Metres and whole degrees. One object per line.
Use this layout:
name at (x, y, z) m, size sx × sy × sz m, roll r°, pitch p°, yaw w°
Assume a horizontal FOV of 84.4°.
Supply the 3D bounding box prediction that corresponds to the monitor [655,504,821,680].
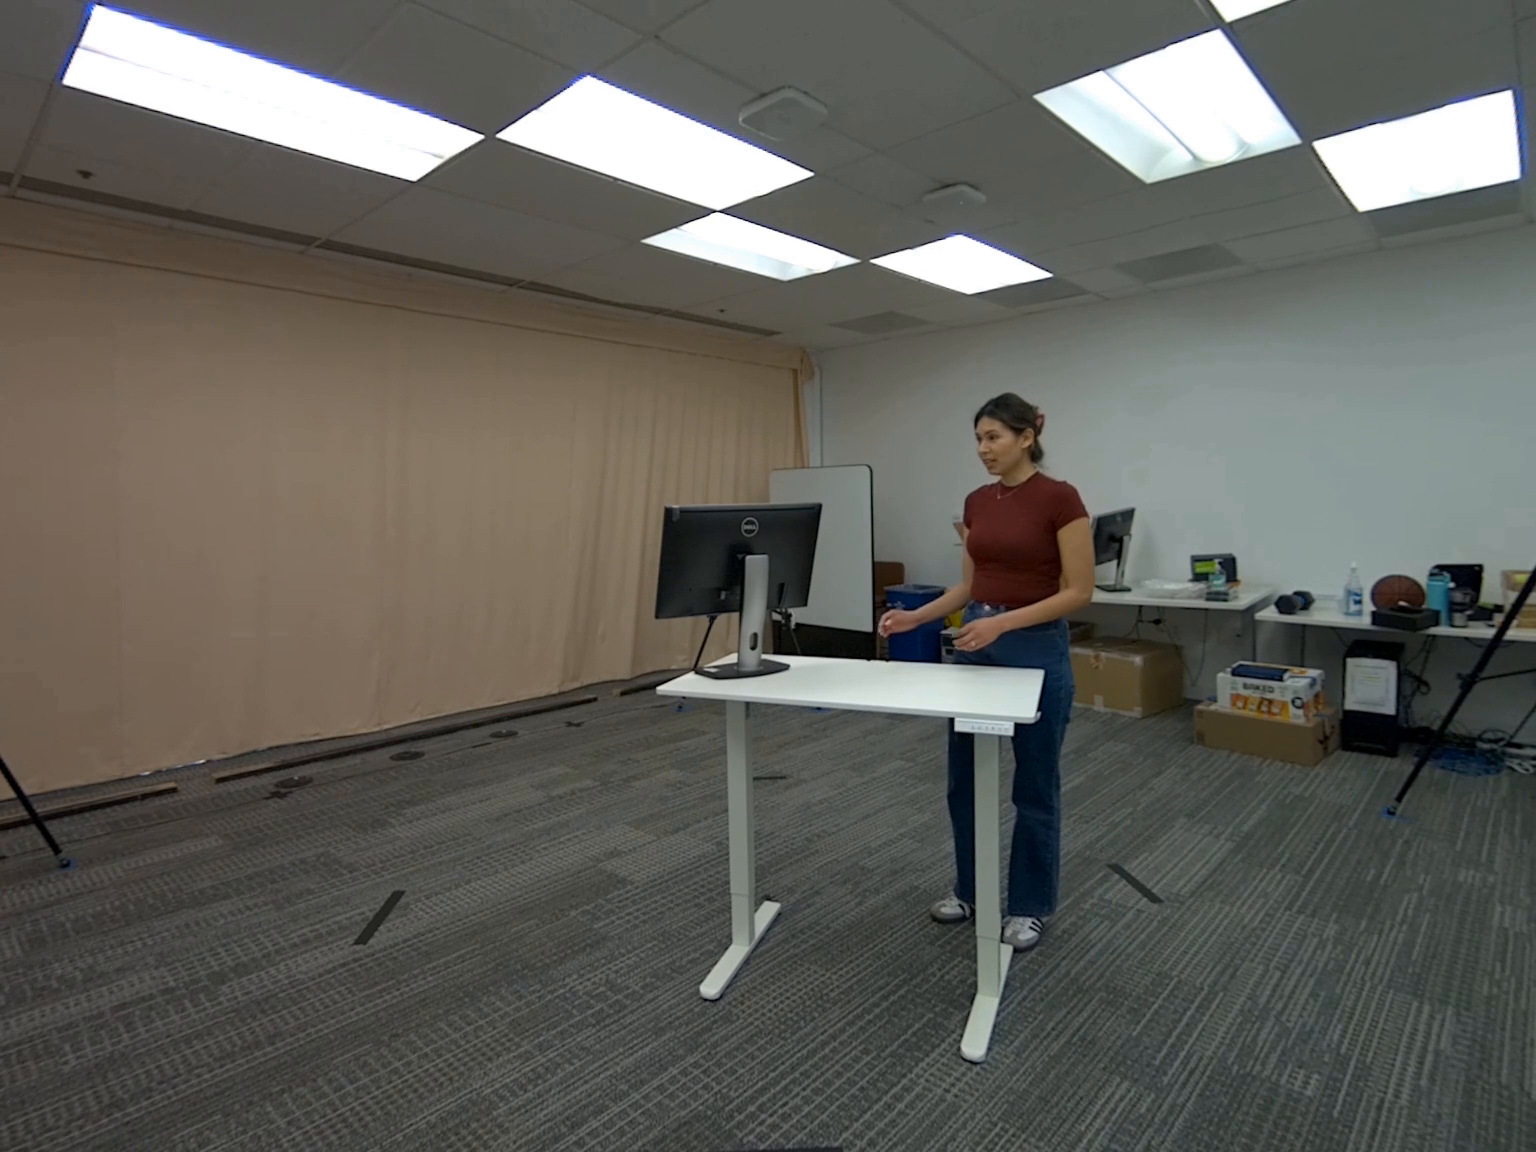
monitor at (-0.066, 0.044, 2.572) m, size 0.525 × 0.521 × 0.192 m, roll -3°, pitch 7°, yaw -28°
